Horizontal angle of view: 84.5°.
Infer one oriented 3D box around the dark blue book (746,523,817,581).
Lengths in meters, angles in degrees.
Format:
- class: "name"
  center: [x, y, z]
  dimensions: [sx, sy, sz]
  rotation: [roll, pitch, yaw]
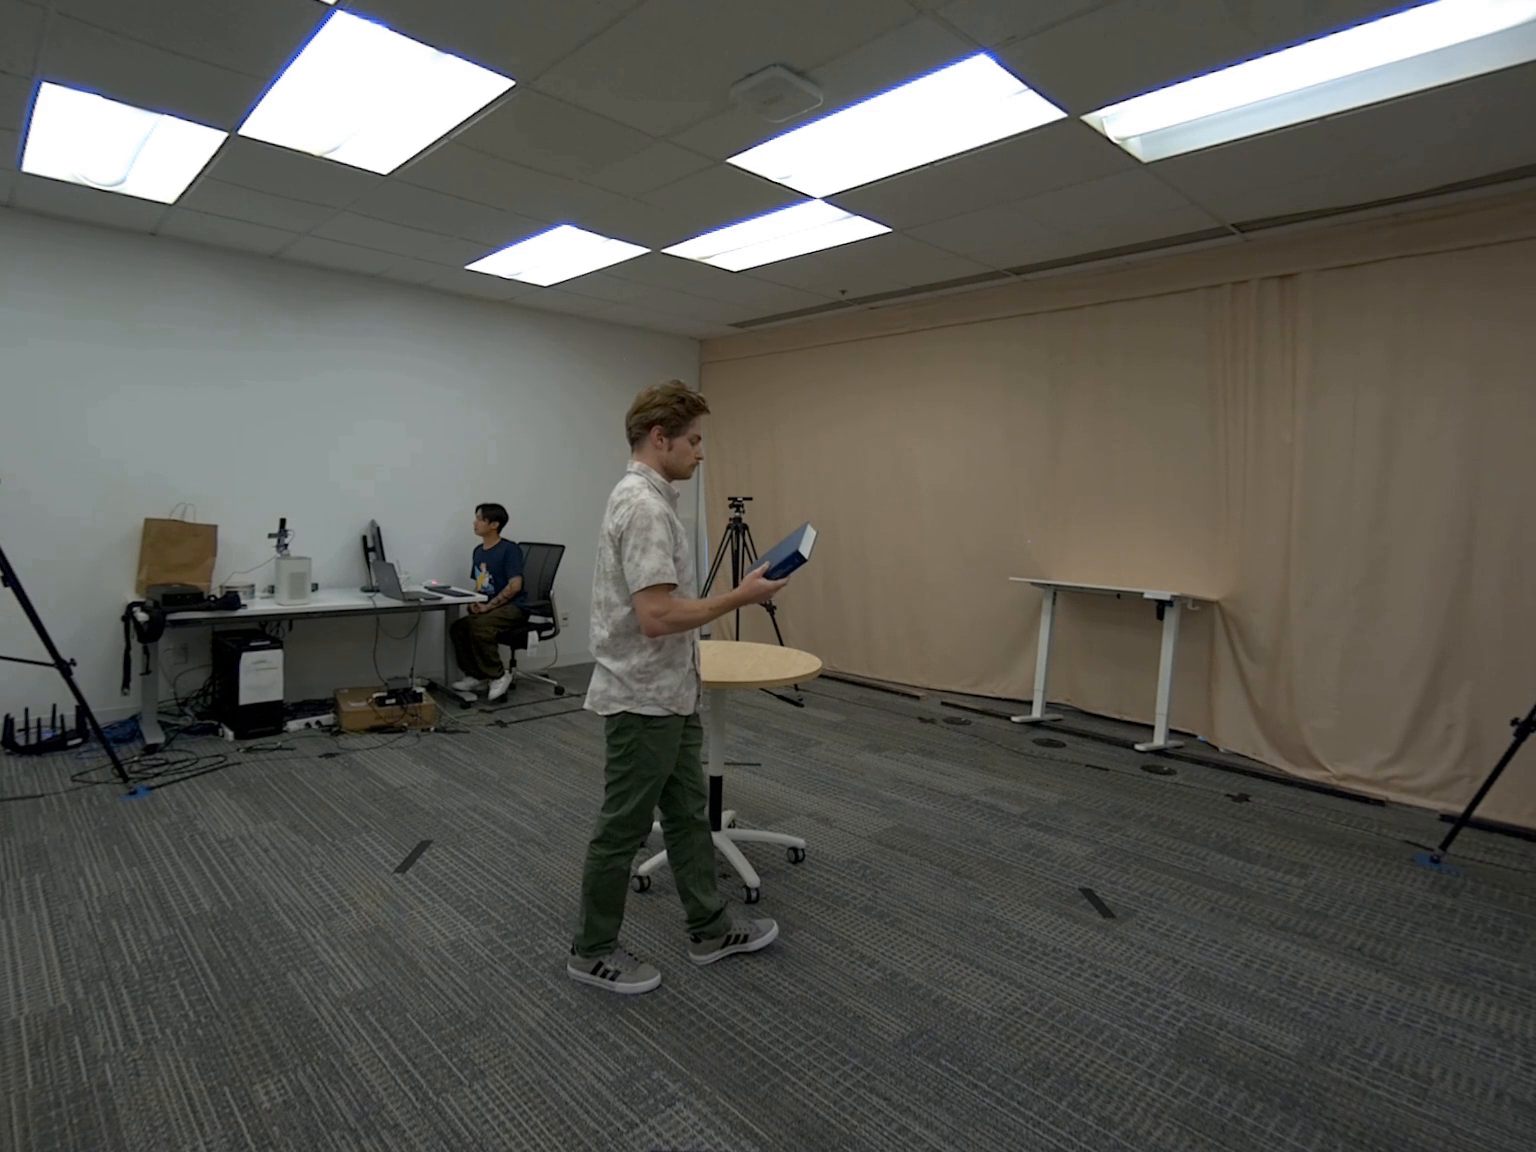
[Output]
- class: "dark blue book"
  center: [0.021, -0.034, 2.319]
  dimensions: [0.246, 0.044, 0.165]
  rotation: [-37, 16, 31]
